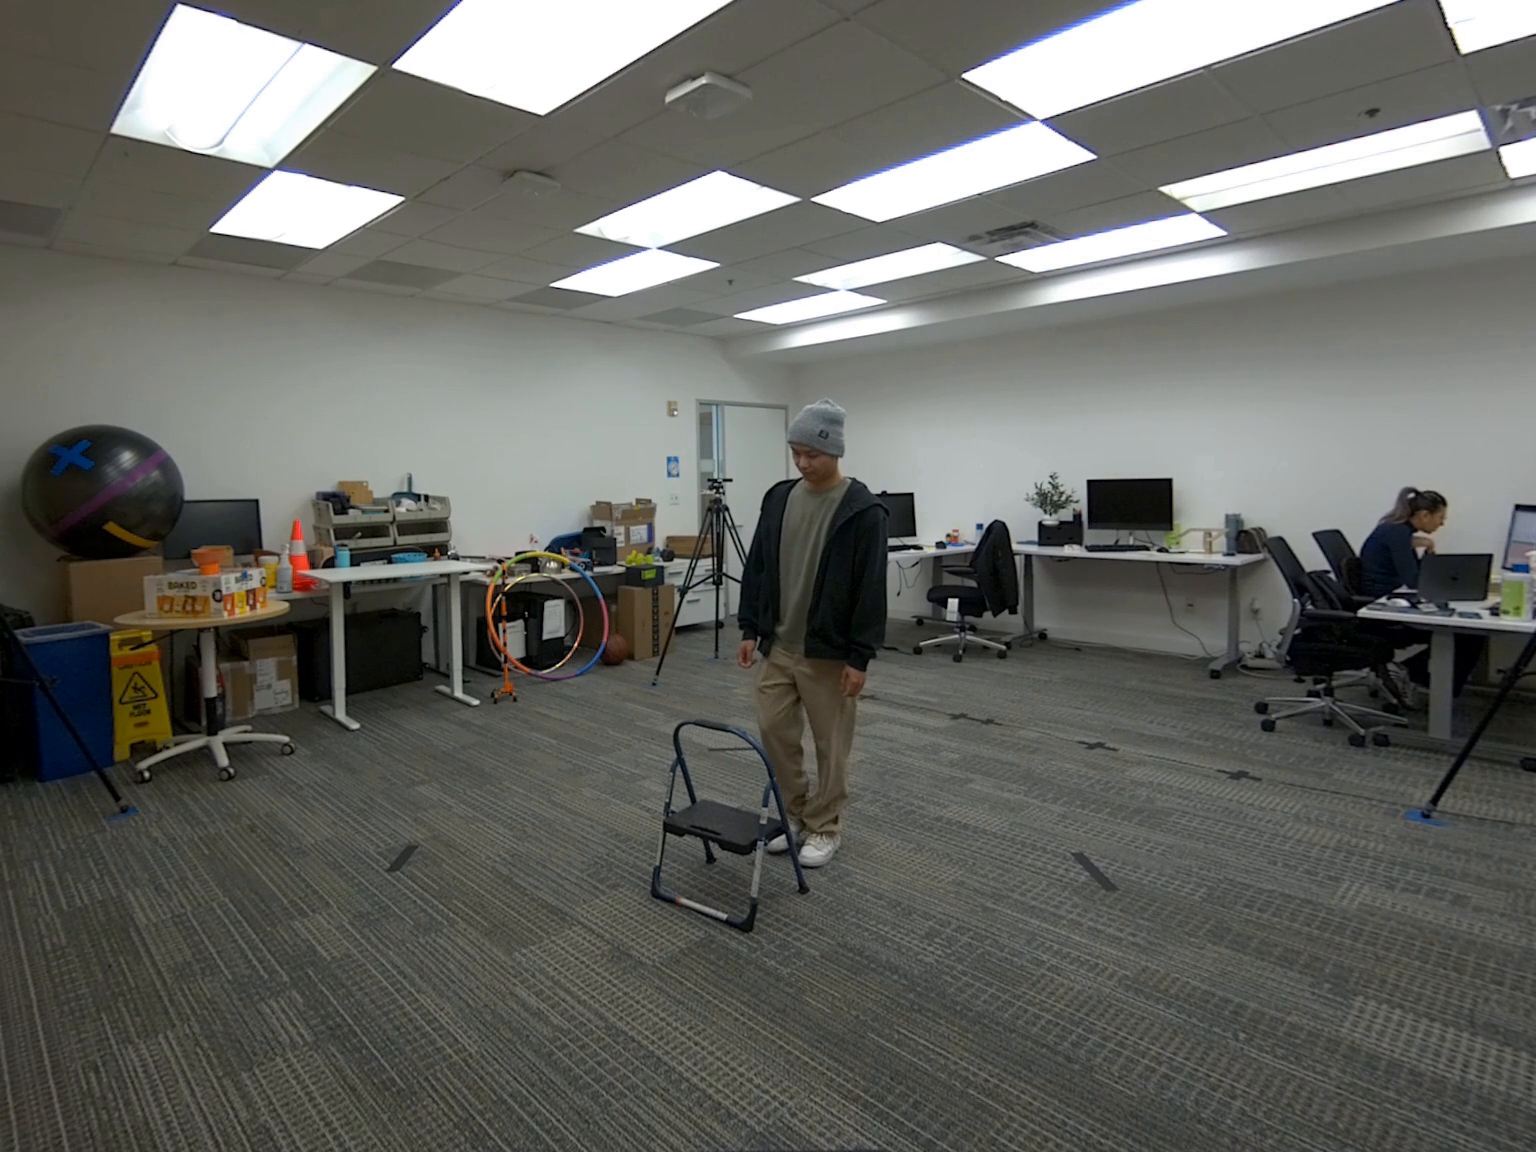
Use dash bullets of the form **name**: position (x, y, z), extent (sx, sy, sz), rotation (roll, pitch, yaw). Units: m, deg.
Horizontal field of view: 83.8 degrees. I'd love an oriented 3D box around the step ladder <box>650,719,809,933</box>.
- **step ladder**: position (-0.135, 0.770, 2.864), extent (0.443, 0.604, 0.341), rotation (2, 5, 35)
